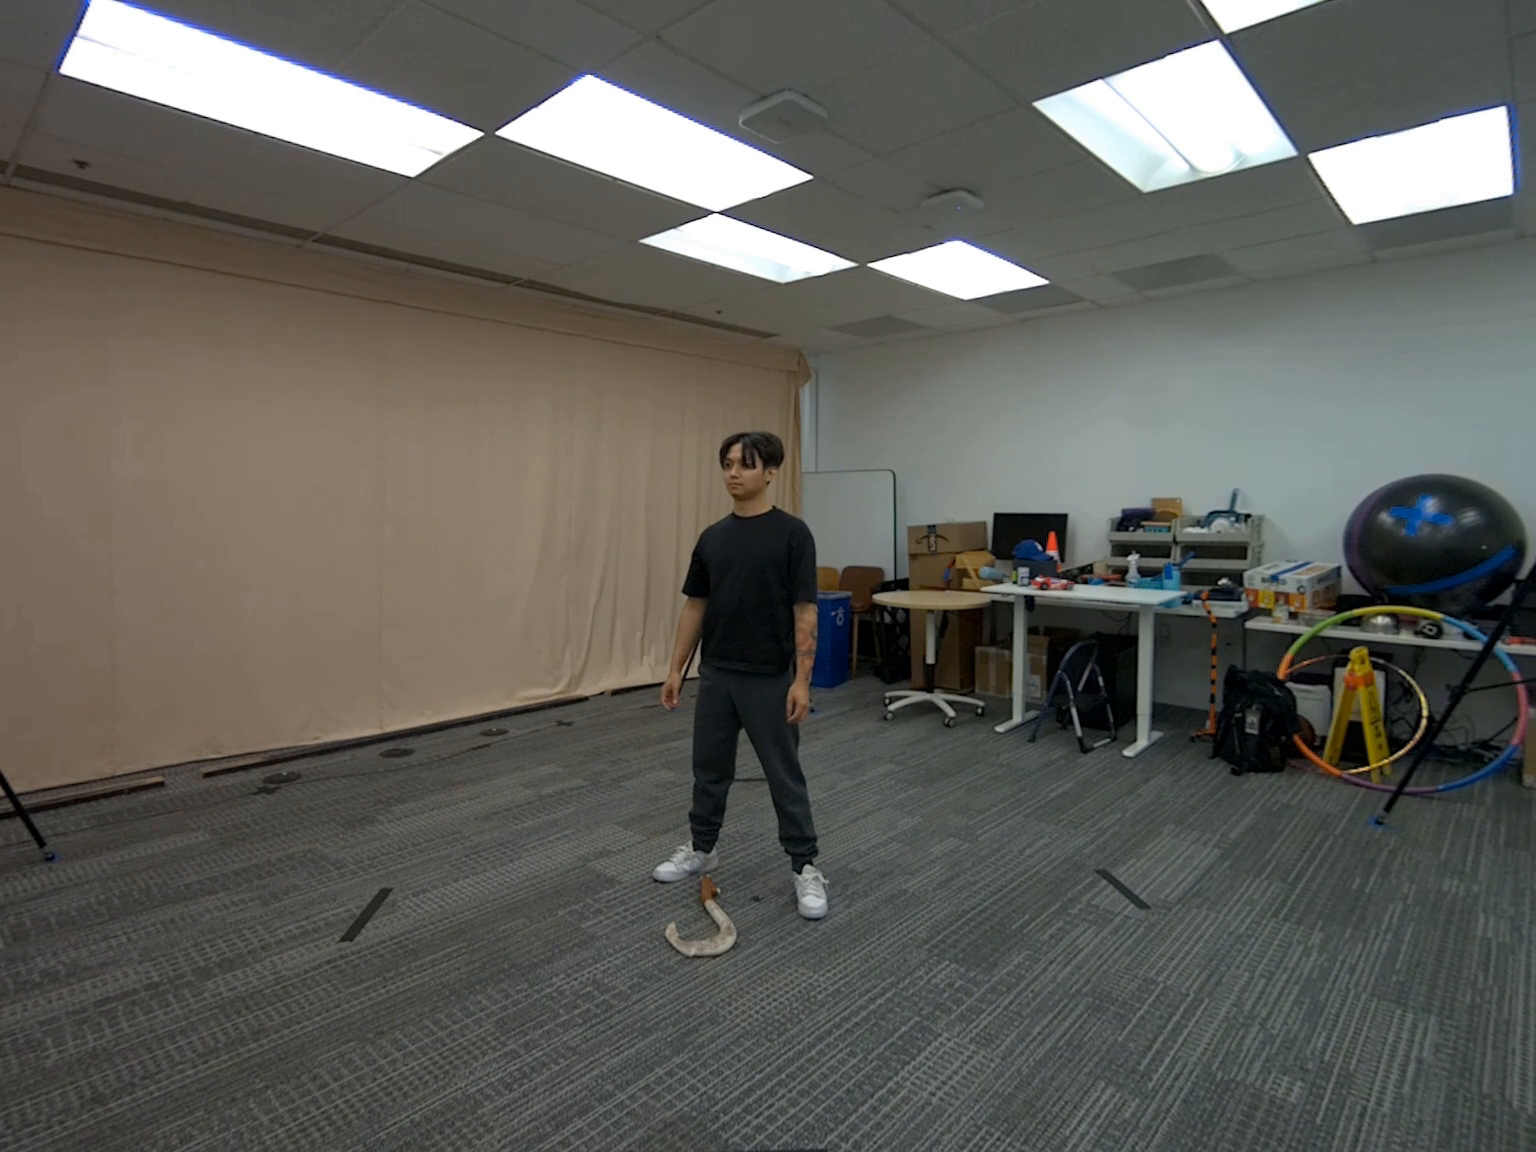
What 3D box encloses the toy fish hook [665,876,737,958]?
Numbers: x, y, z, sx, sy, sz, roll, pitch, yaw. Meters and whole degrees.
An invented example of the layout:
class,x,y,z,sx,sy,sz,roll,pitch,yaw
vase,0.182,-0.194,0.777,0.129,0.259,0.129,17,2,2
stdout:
class,x,y,z,sx,sy,sz,roll,pitch,yaw
toy fish hook,-0.238,1.128,2.837,0.223,0.048,0.512,2,5,-9
